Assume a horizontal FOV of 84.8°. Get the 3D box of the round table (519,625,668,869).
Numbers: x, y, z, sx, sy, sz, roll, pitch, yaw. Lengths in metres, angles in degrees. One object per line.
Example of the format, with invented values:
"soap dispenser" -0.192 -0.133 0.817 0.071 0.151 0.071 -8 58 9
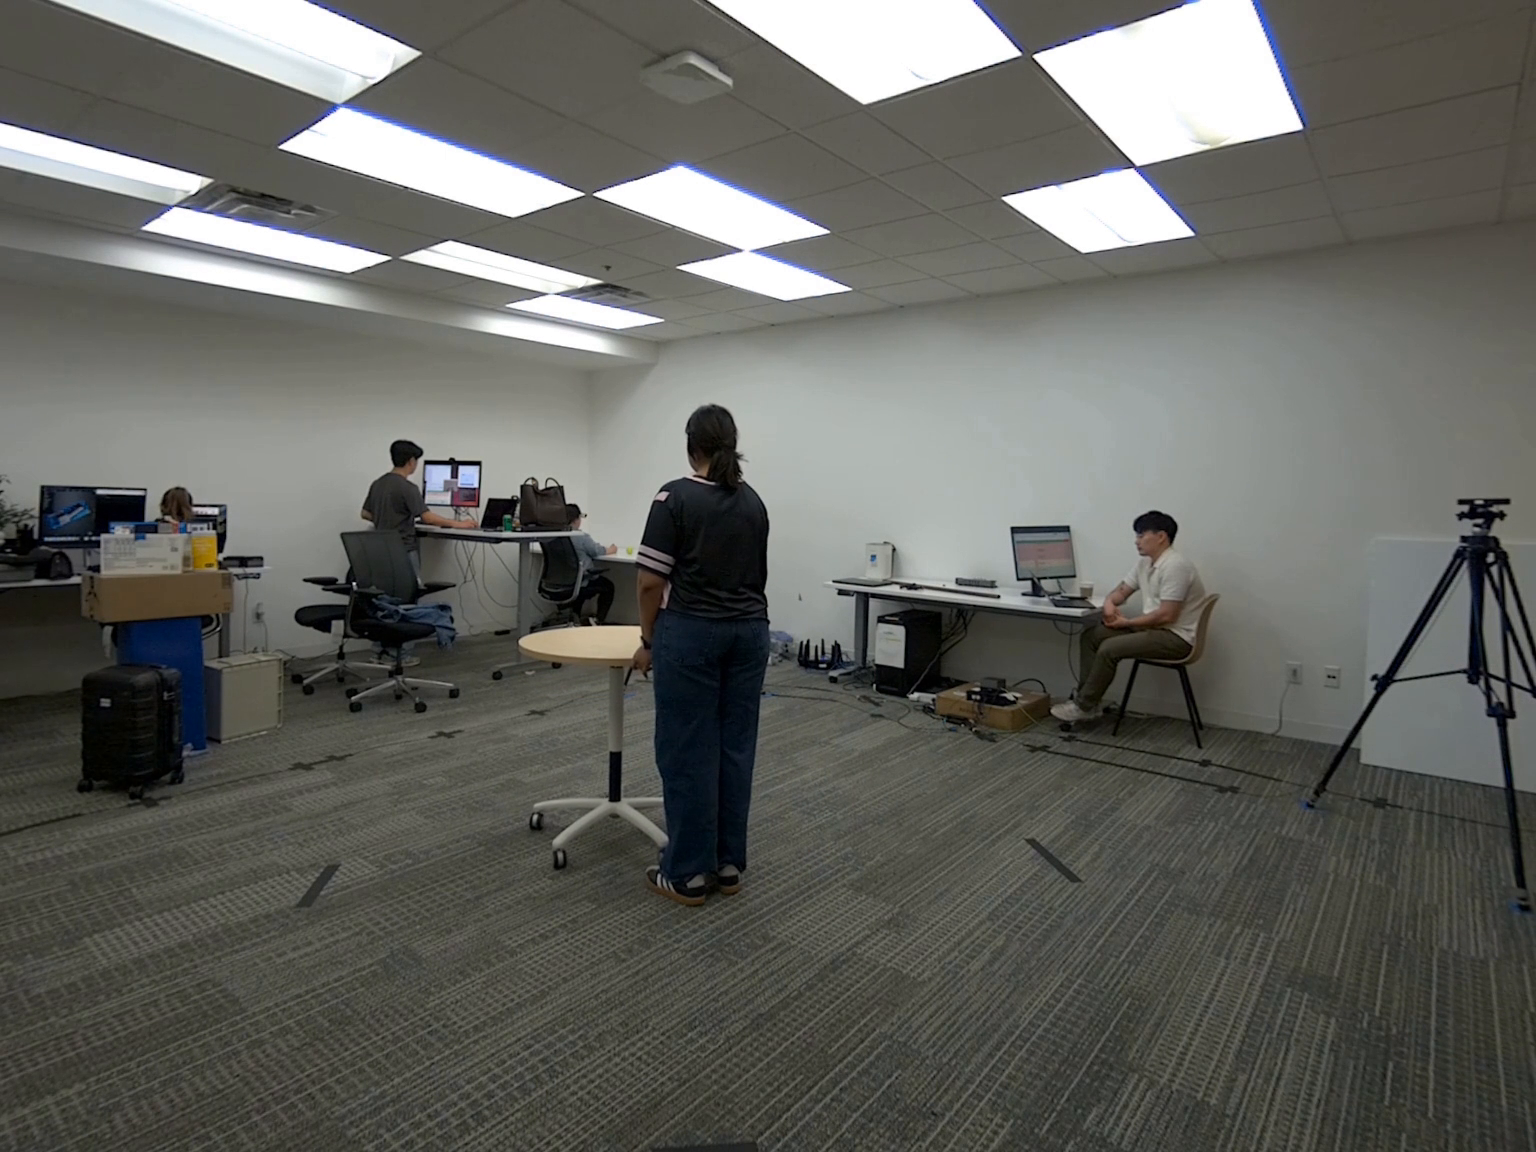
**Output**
"round table" -0.613 0.642 3.374 0.784 0.784 0.788 1 3 -2
